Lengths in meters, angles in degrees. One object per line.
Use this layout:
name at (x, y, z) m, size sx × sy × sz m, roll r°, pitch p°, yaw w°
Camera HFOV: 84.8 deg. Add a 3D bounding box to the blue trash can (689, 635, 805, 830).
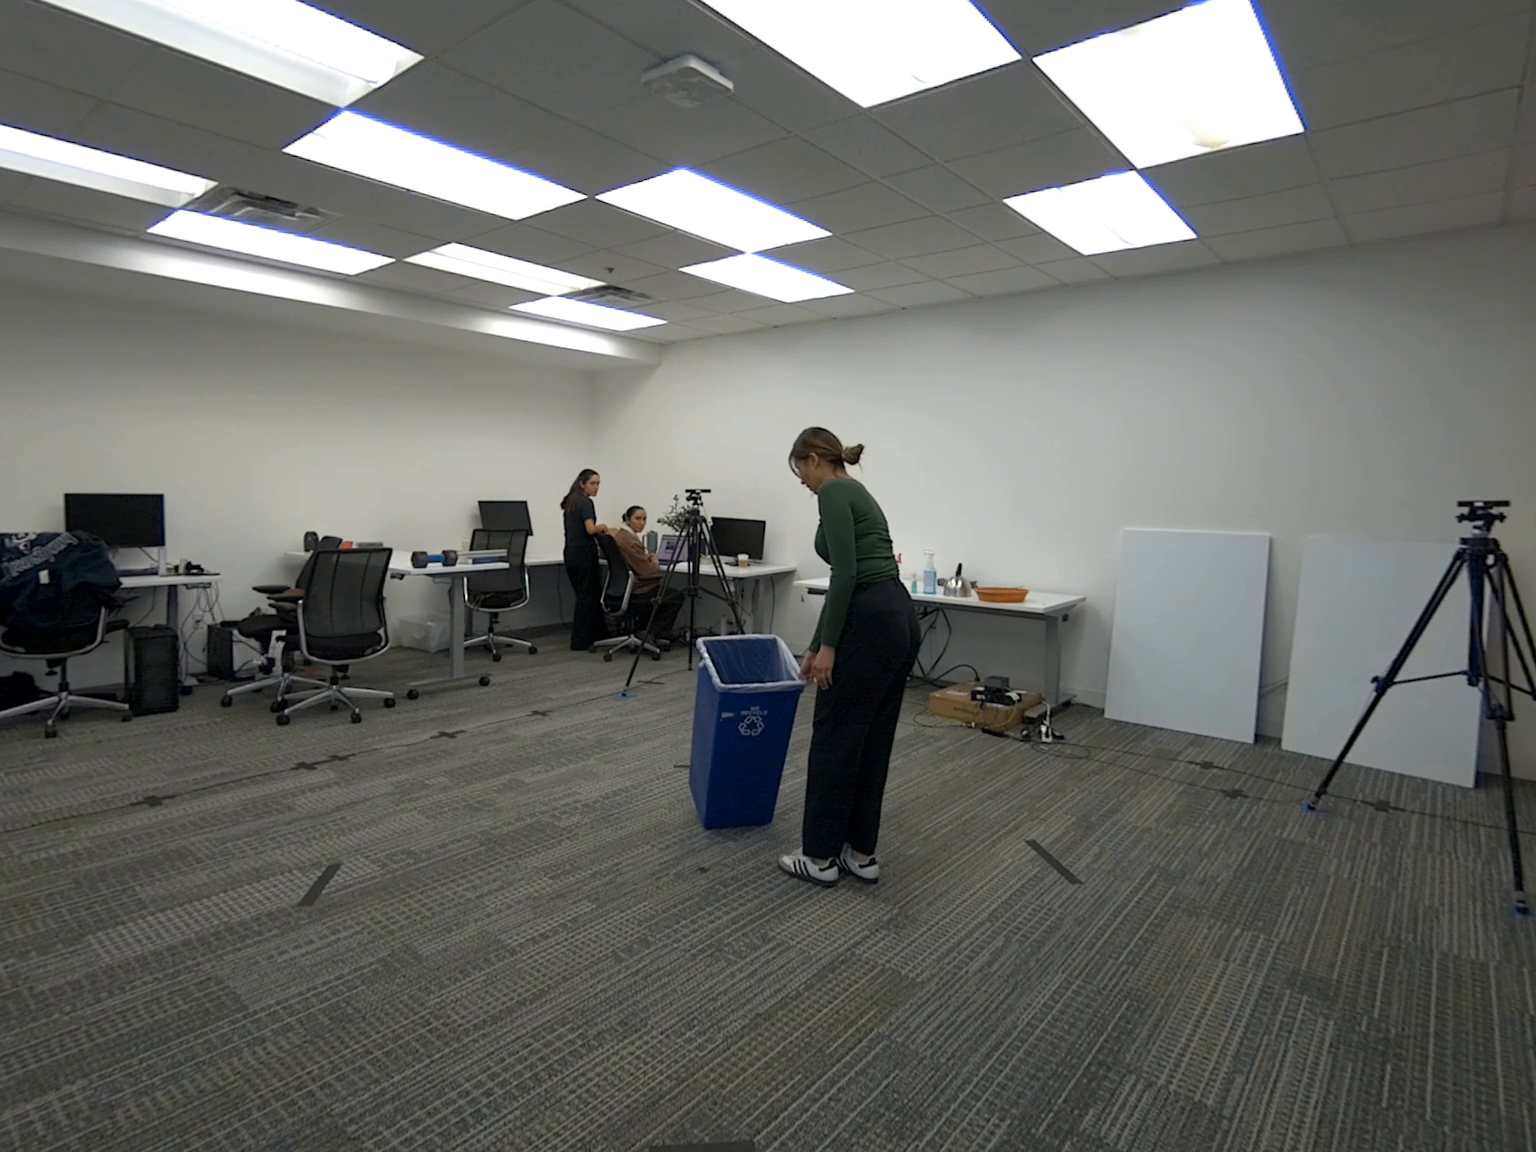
blue trash can at (-0.137, 0.647, 3.522) m, size 0.371 × 0.701 × 0.388 m, roll 0°, pitch 25°, yaw -19°
